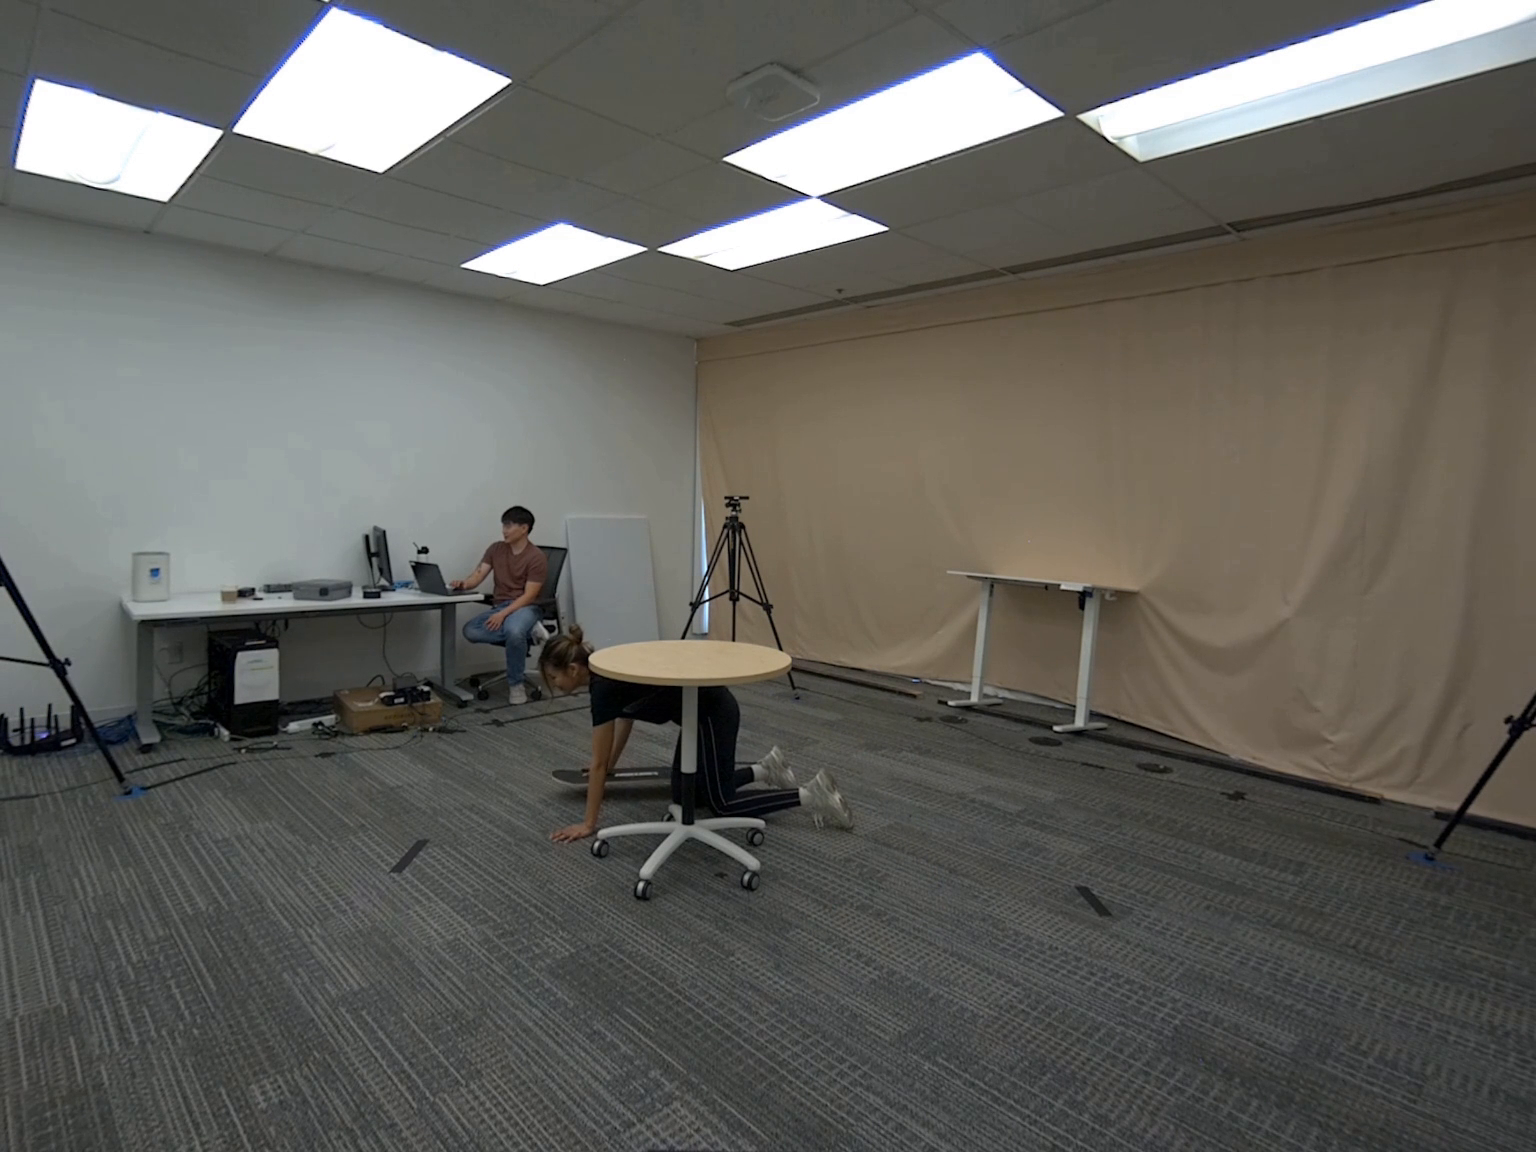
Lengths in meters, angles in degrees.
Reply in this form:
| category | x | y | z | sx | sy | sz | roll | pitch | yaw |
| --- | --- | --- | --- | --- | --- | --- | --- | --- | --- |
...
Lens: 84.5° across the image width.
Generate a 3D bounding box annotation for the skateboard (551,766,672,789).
| category | x | y | z | sx | sy | sz | roll | pitch | yaw |
| --- | --- | --- | --- | --- | --- | --- | --- | --- | --- |
| skateboard | -0.616 | 0.959 | 3.944 | 0.778 | 0.110 | 0.196 | 1 | 6 | -11 |
